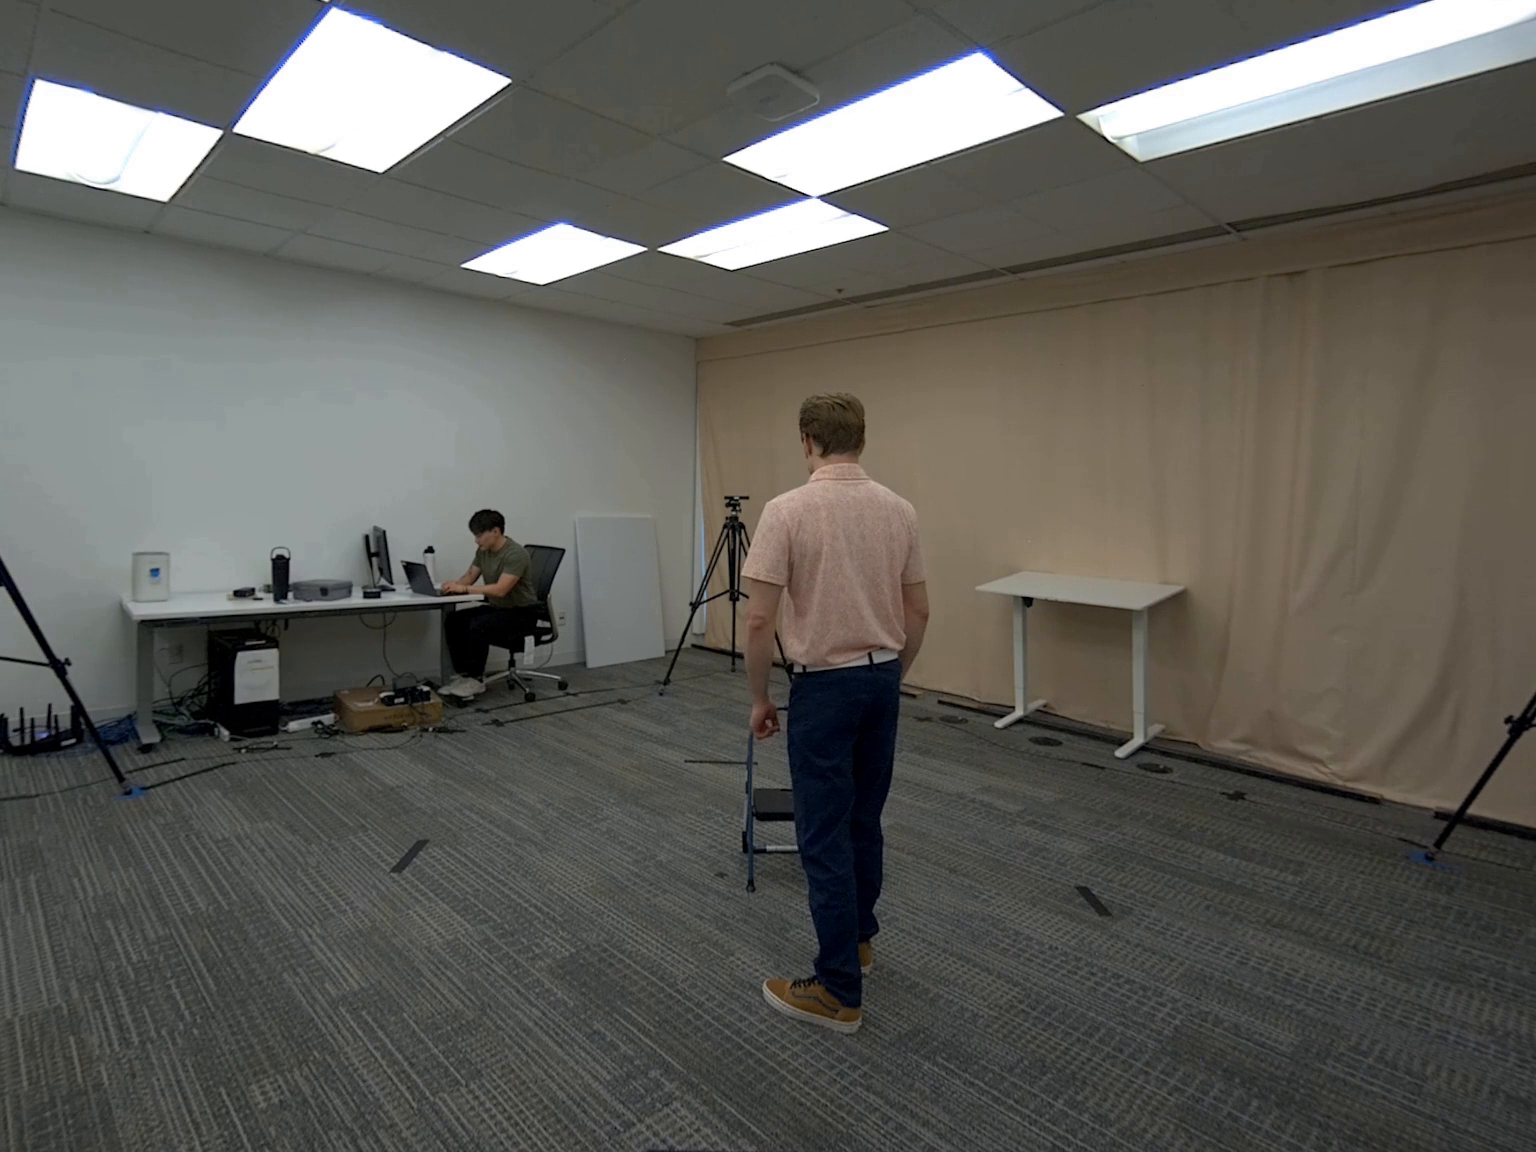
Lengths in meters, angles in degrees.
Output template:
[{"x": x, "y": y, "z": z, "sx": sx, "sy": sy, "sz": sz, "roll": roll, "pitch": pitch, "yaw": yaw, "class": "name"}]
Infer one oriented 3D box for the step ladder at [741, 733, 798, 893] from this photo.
[{"x": 0.122, "y": 0.808, "z": 3.145, "sx": 0.429, "sy": 0.604, "sz": 0.352, "roll": 2, "pitch": 4, "yaw": -6, "class": "step ladder"}]
